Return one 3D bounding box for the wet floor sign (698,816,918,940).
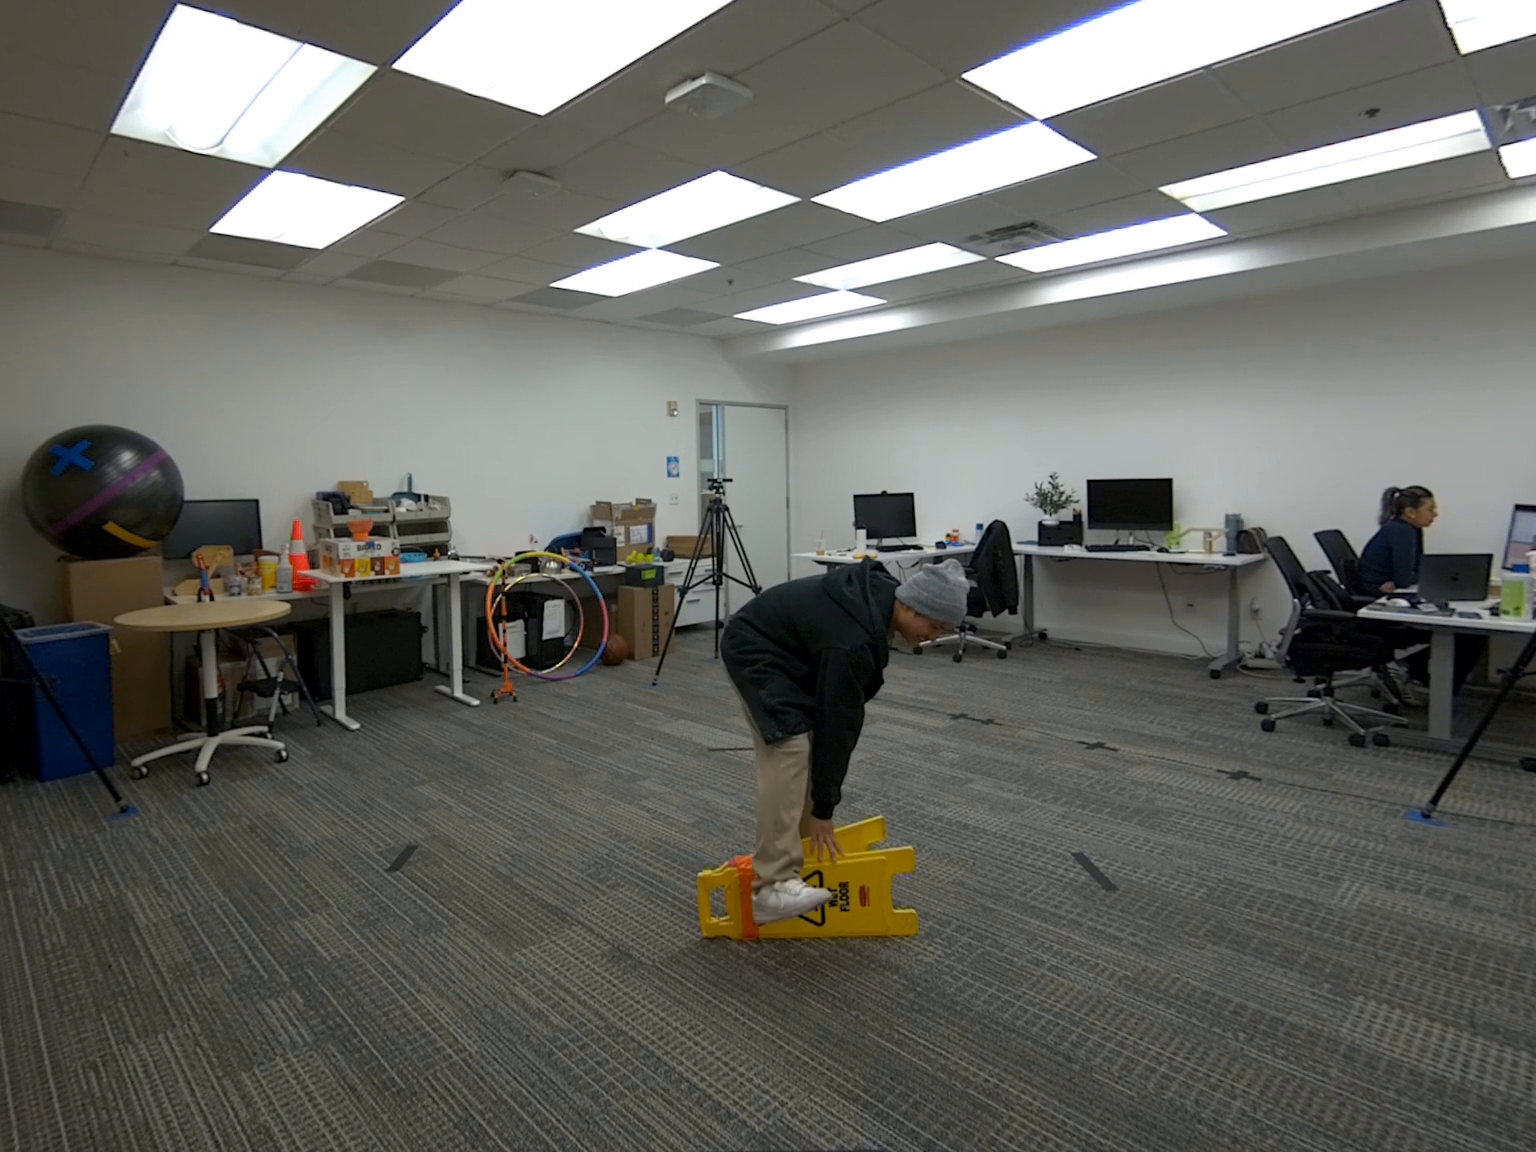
[{"bbox_3d":[0.113,0.970,2.643,0.640,0.281,0.294,-5,6,-10],"label":"wet floor sign"}]
